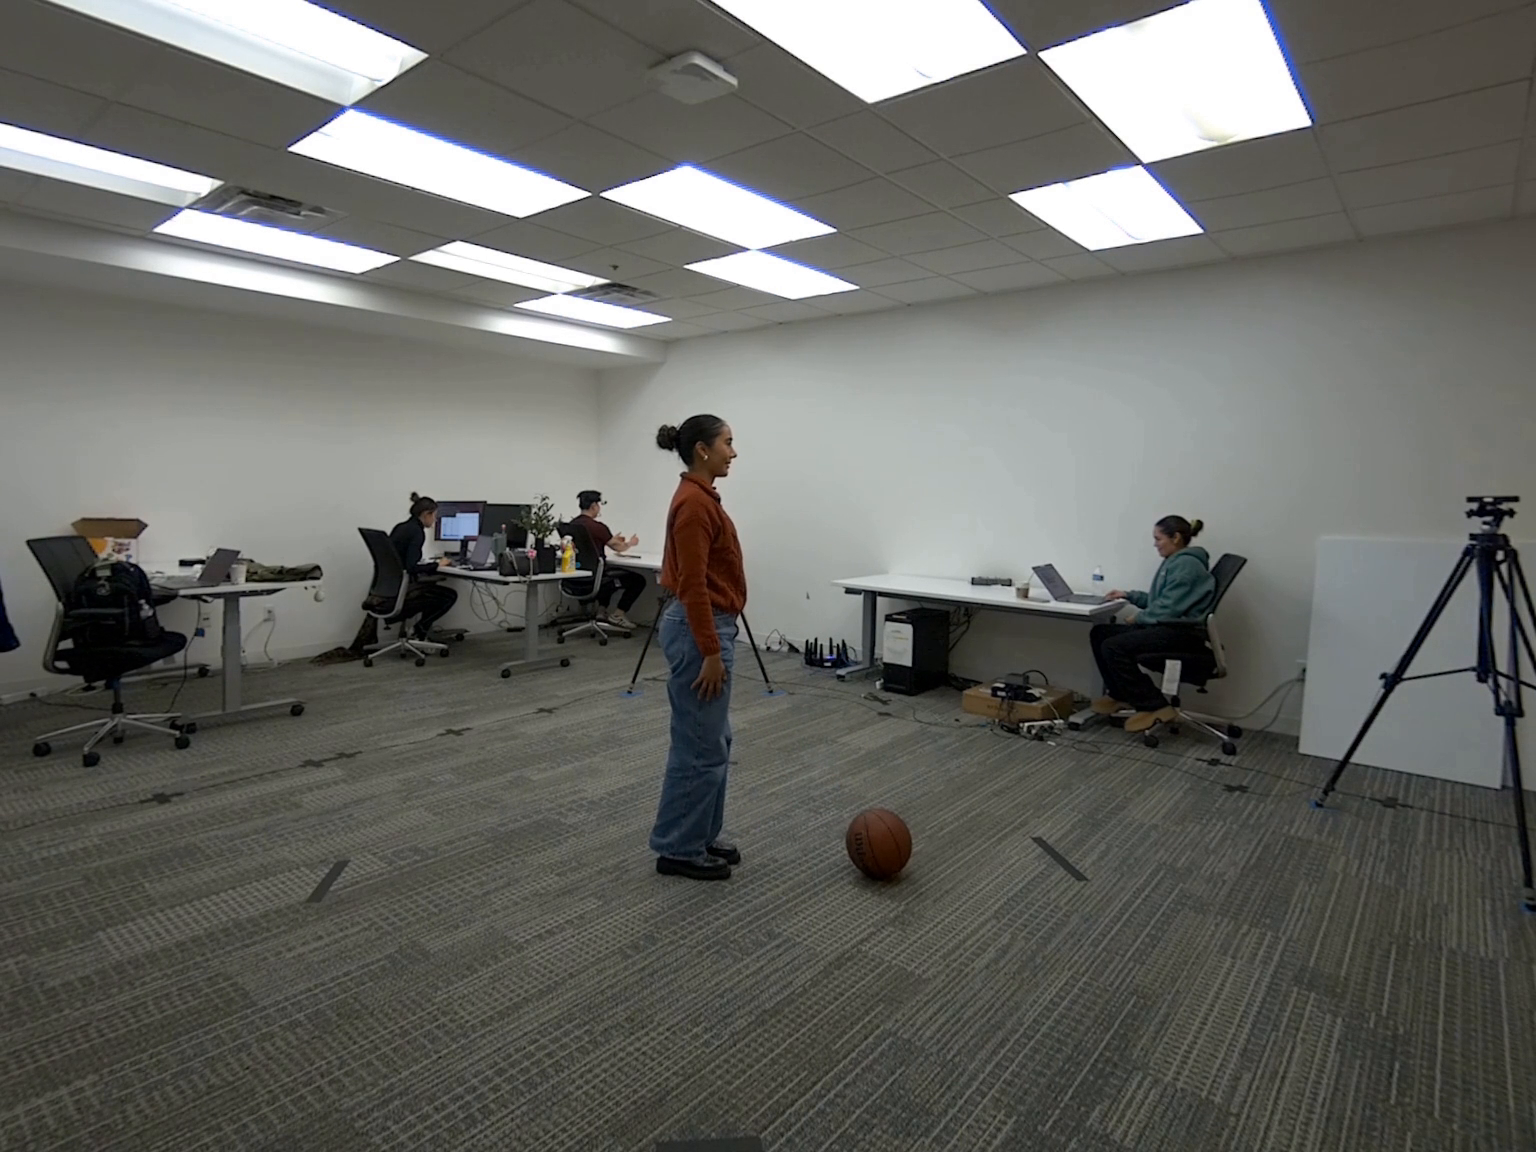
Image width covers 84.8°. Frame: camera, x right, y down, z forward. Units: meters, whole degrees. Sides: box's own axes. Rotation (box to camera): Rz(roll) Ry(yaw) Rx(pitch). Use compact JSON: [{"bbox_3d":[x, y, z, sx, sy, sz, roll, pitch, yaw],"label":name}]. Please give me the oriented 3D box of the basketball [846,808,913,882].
[{"bbox_3d":[0.395,0.962,3.081,0.236,0.235,0.237,1,4,-2],"label":"basketball"}]
